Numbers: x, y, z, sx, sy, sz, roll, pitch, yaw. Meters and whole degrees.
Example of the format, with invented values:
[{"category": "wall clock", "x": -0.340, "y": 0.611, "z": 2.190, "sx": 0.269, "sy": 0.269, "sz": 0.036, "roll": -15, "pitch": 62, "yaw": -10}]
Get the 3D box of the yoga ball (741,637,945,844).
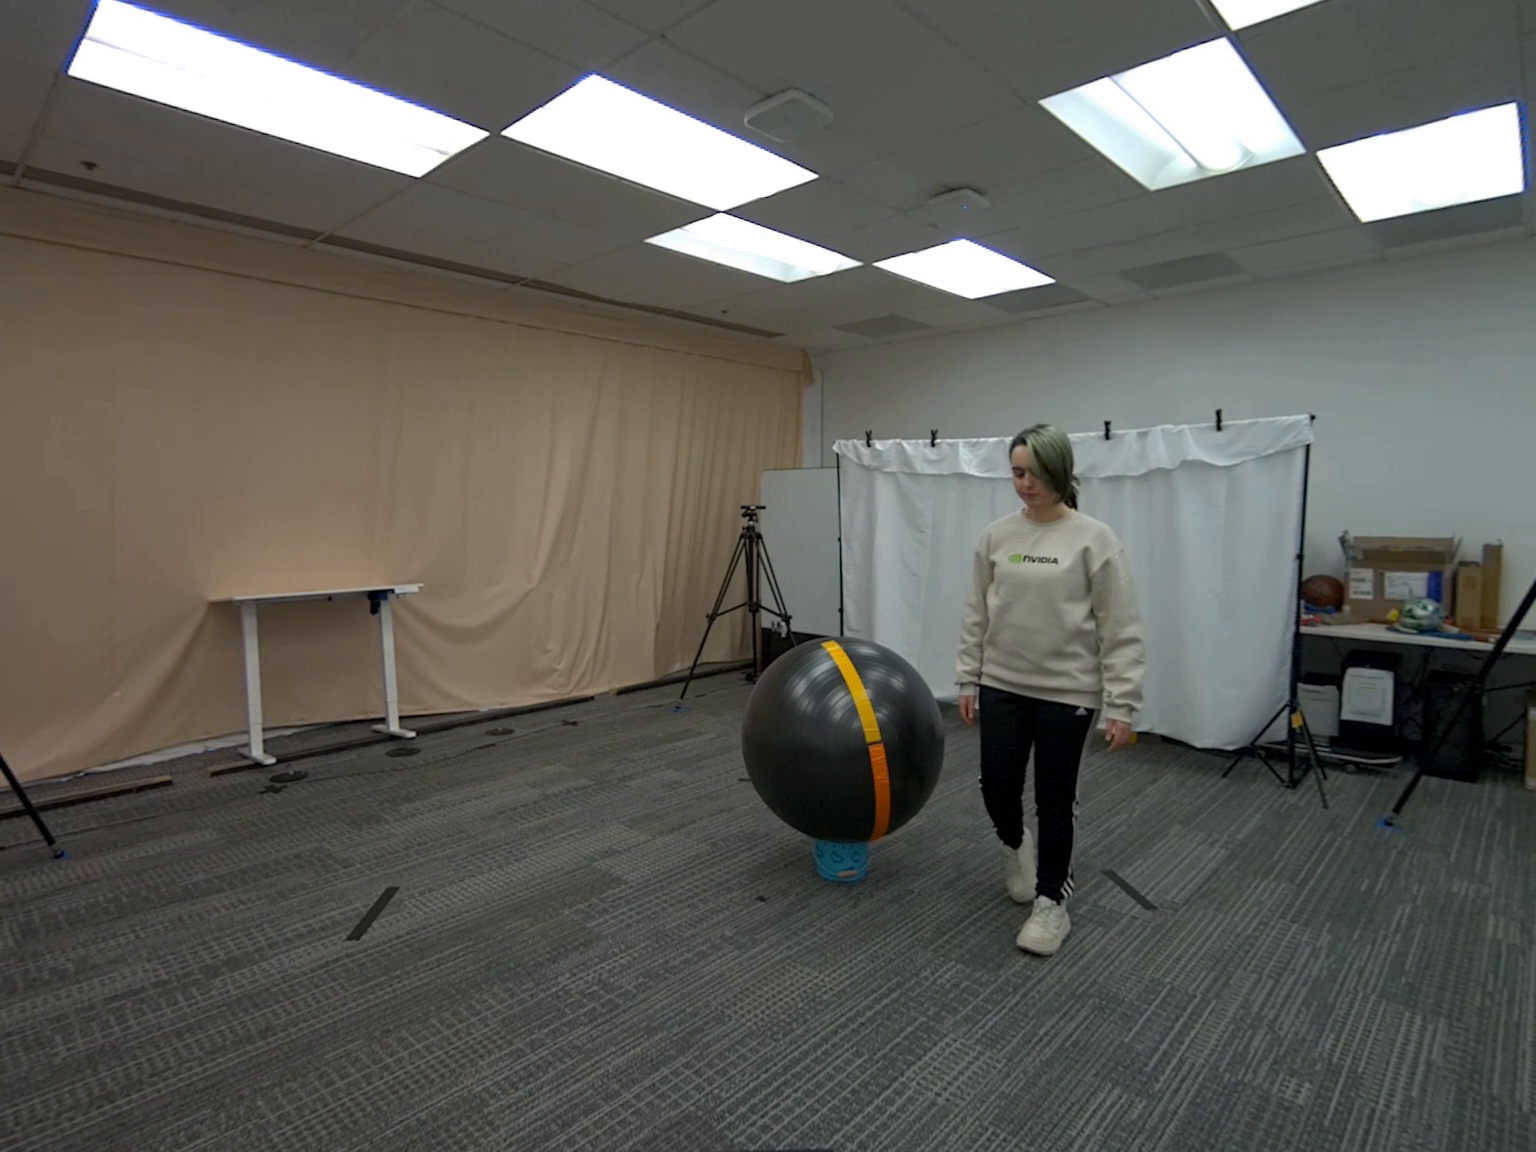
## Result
[{"category": "yoga ball", "x": 0.281, "y": 0.614, "z": 3.188, "sx": 0.757, "sy": 0.756, "sz": 0.760, "roll": 0, "pitch": 4, "yaw": -2}]
